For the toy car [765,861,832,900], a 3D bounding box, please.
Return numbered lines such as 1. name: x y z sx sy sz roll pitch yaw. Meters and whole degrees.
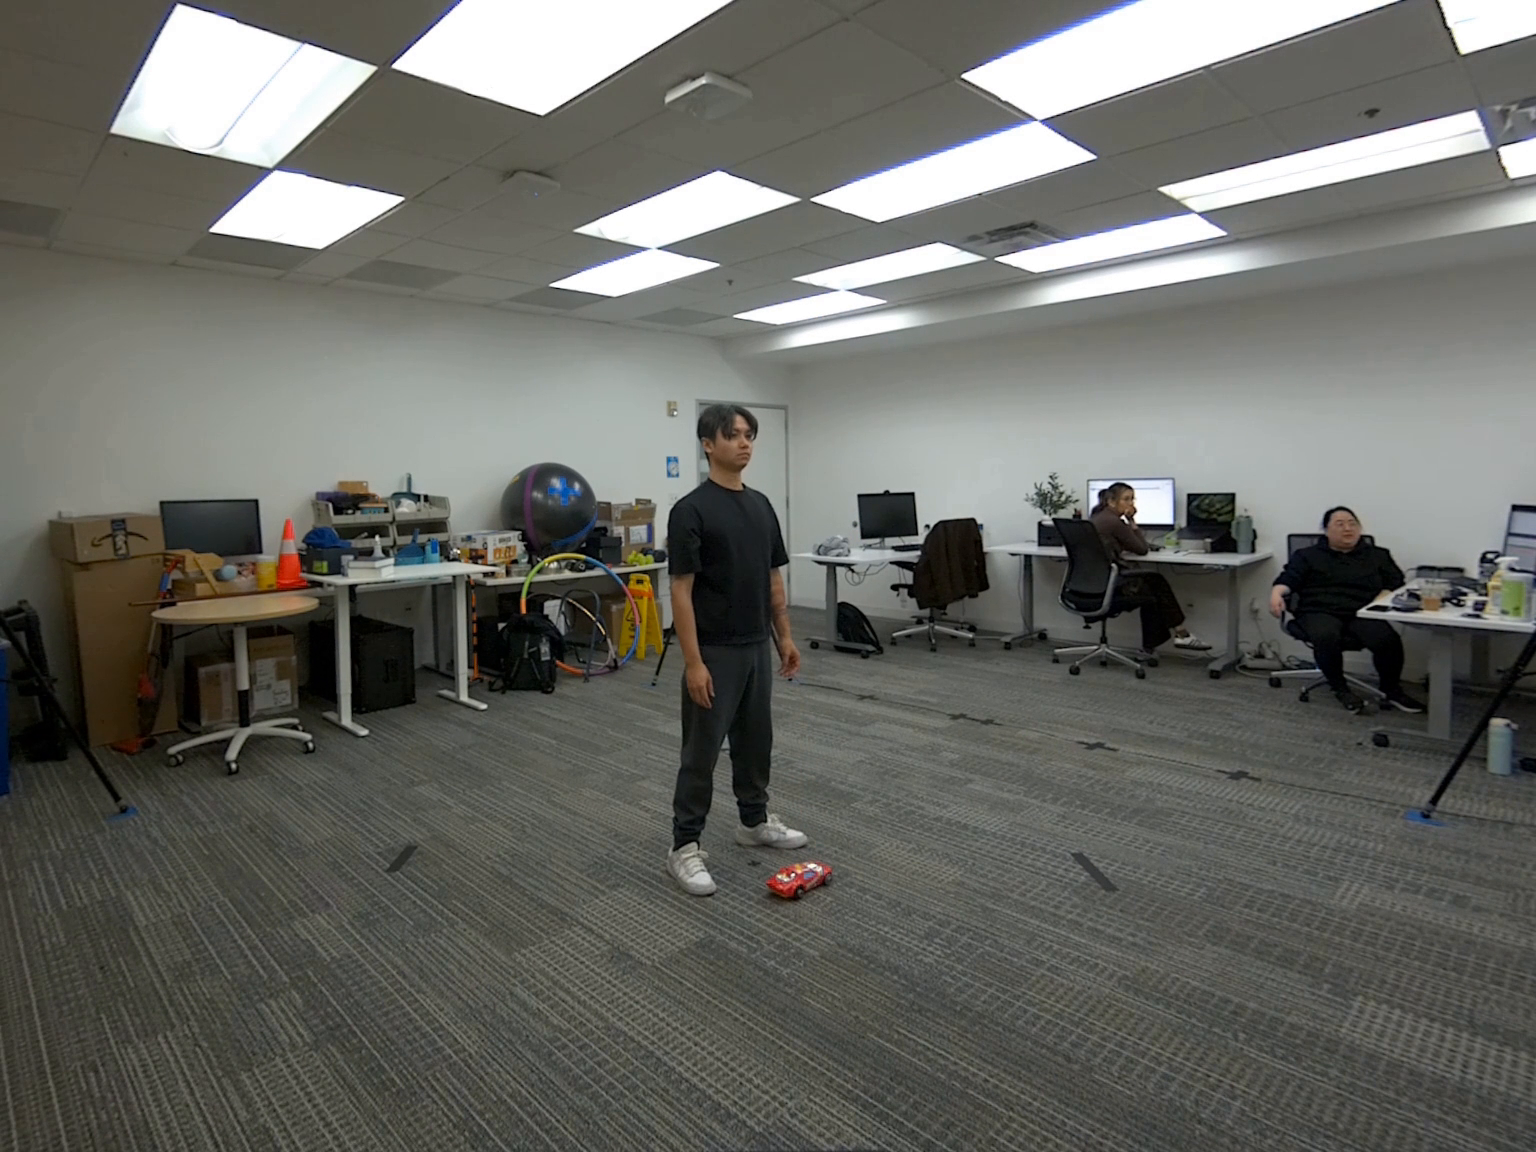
1. toy car: 0.106 1.037 2.900 0.246 0.083 0.134 8 -1 -41
